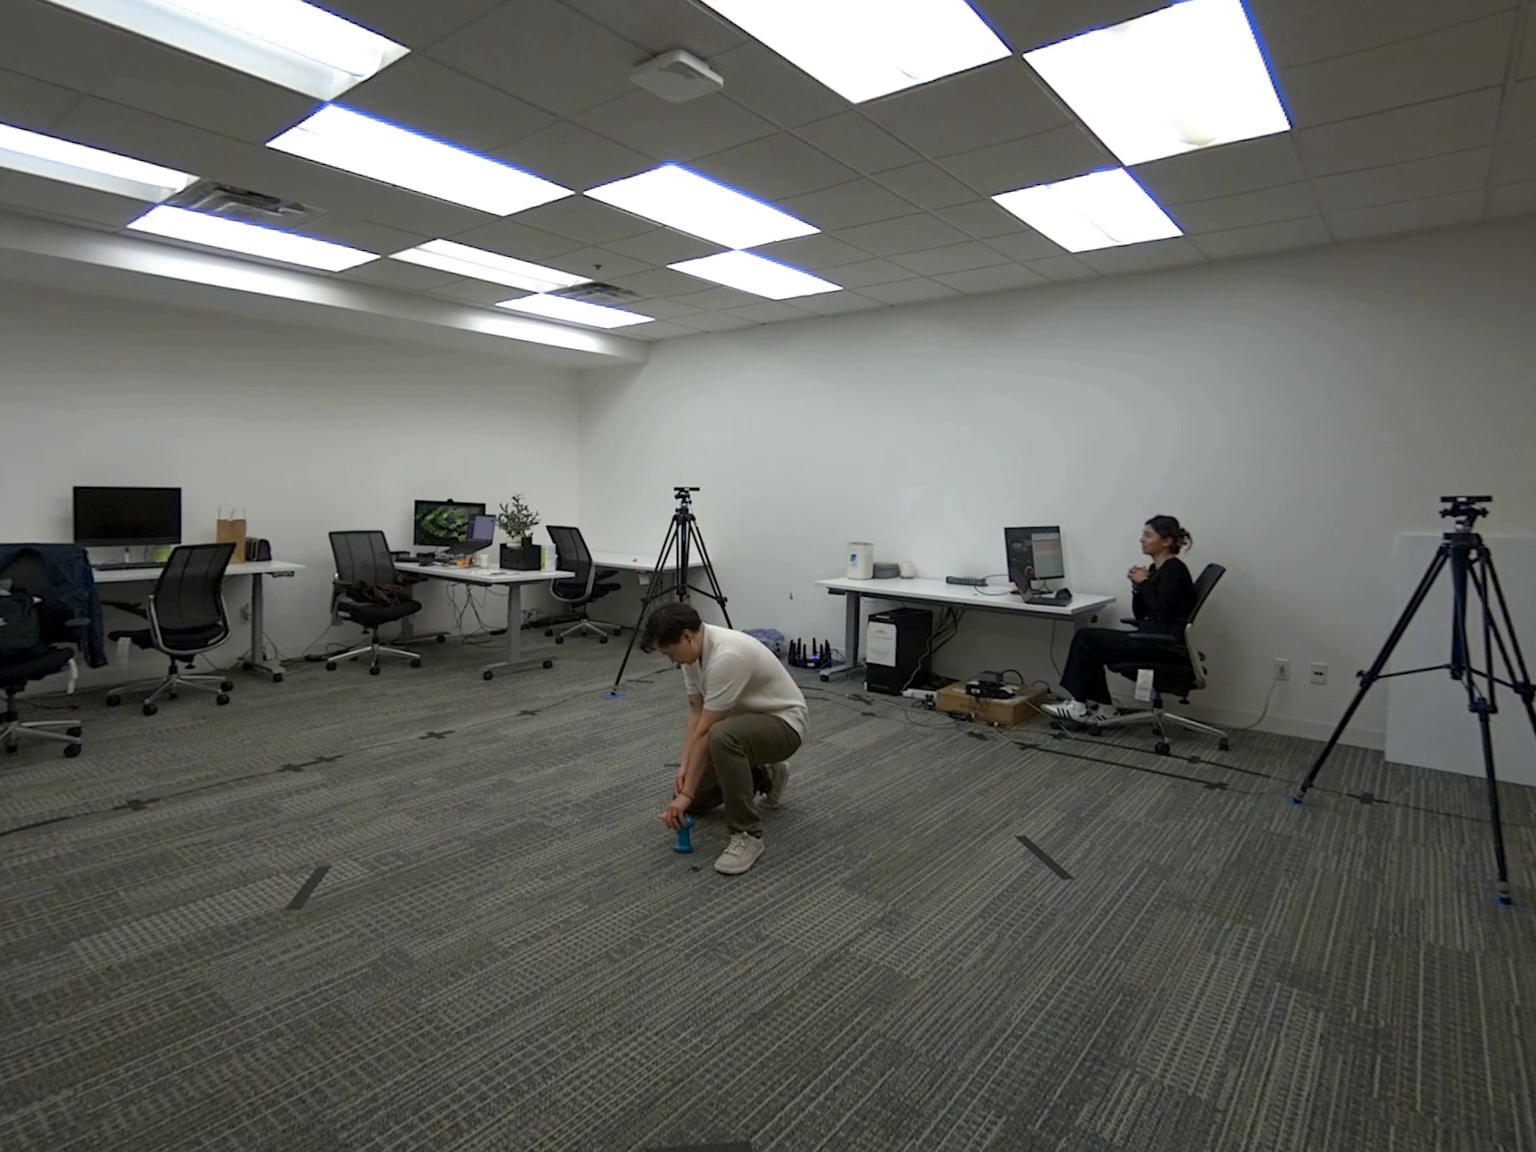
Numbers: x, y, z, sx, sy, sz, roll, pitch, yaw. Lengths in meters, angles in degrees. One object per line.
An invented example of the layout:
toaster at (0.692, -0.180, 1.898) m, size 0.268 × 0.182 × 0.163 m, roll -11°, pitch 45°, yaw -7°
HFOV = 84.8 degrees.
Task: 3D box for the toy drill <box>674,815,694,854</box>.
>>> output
toy drill at (-0.384, 0.972, 3.288) m, size 0.174 × 0.146 × 0.060 m, roll 3°, pitch 3°, yaw 23°
